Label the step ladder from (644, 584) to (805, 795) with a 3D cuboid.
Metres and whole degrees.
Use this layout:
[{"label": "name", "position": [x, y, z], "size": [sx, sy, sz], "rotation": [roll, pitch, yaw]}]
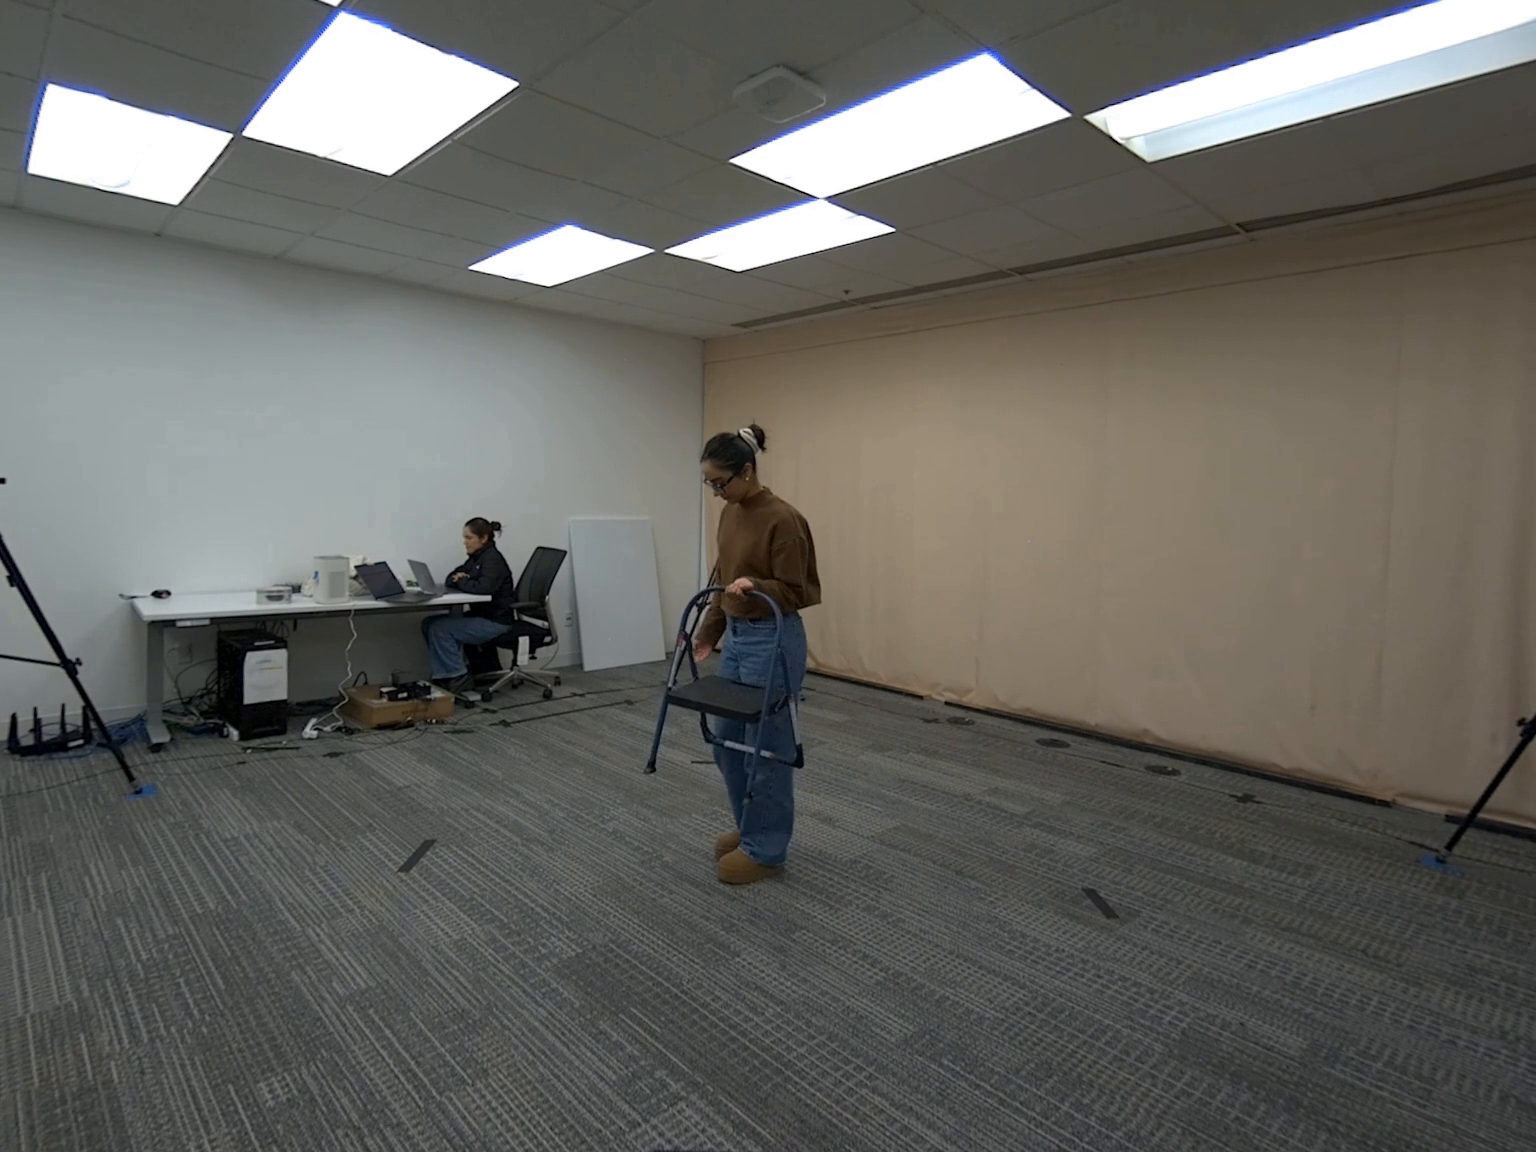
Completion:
[{"label": "step ladder", "position": [-0.150, 0.349, 2.762], "size": [0.441, 0.602, 0.343], "rotation": [6, 12, 34]}]
